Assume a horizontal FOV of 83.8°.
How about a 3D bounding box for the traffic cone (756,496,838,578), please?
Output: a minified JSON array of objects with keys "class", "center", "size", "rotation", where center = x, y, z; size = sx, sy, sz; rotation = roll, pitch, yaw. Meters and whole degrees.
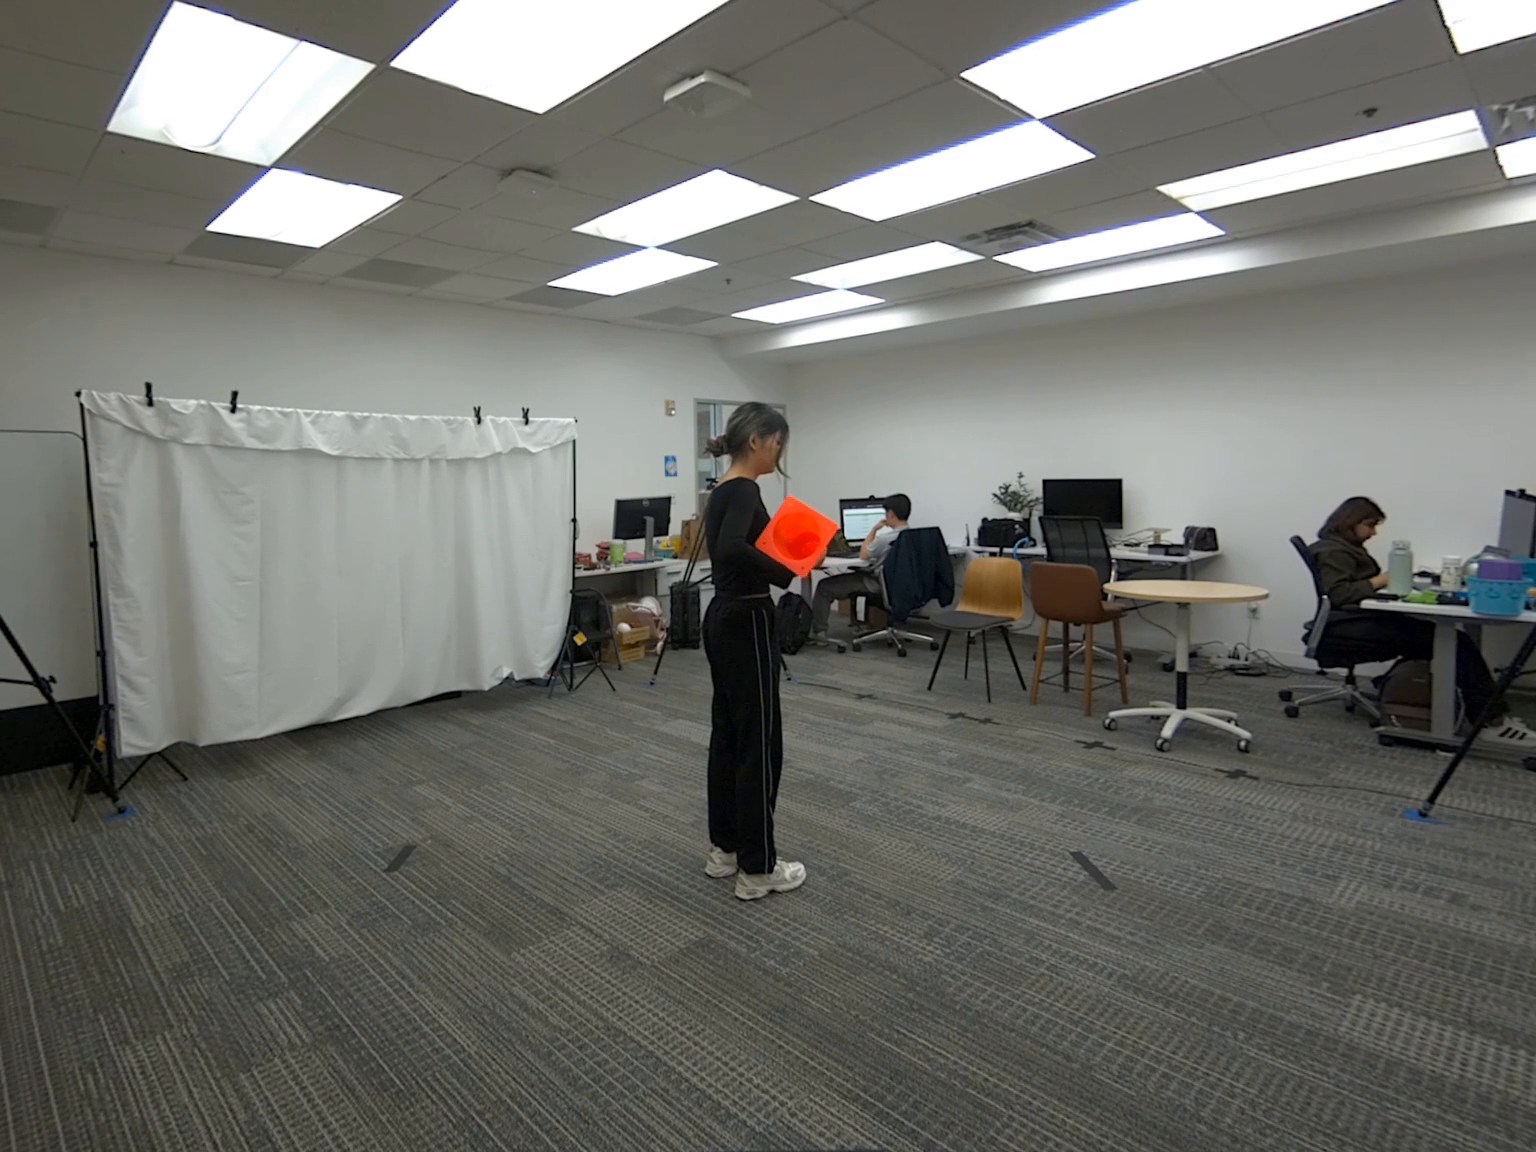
[{"class":"traffic cone","center":[0.126,-0.097,2.855],"size":[0.209,0.203,0.375],"rotation":[33,-1,15]}]
